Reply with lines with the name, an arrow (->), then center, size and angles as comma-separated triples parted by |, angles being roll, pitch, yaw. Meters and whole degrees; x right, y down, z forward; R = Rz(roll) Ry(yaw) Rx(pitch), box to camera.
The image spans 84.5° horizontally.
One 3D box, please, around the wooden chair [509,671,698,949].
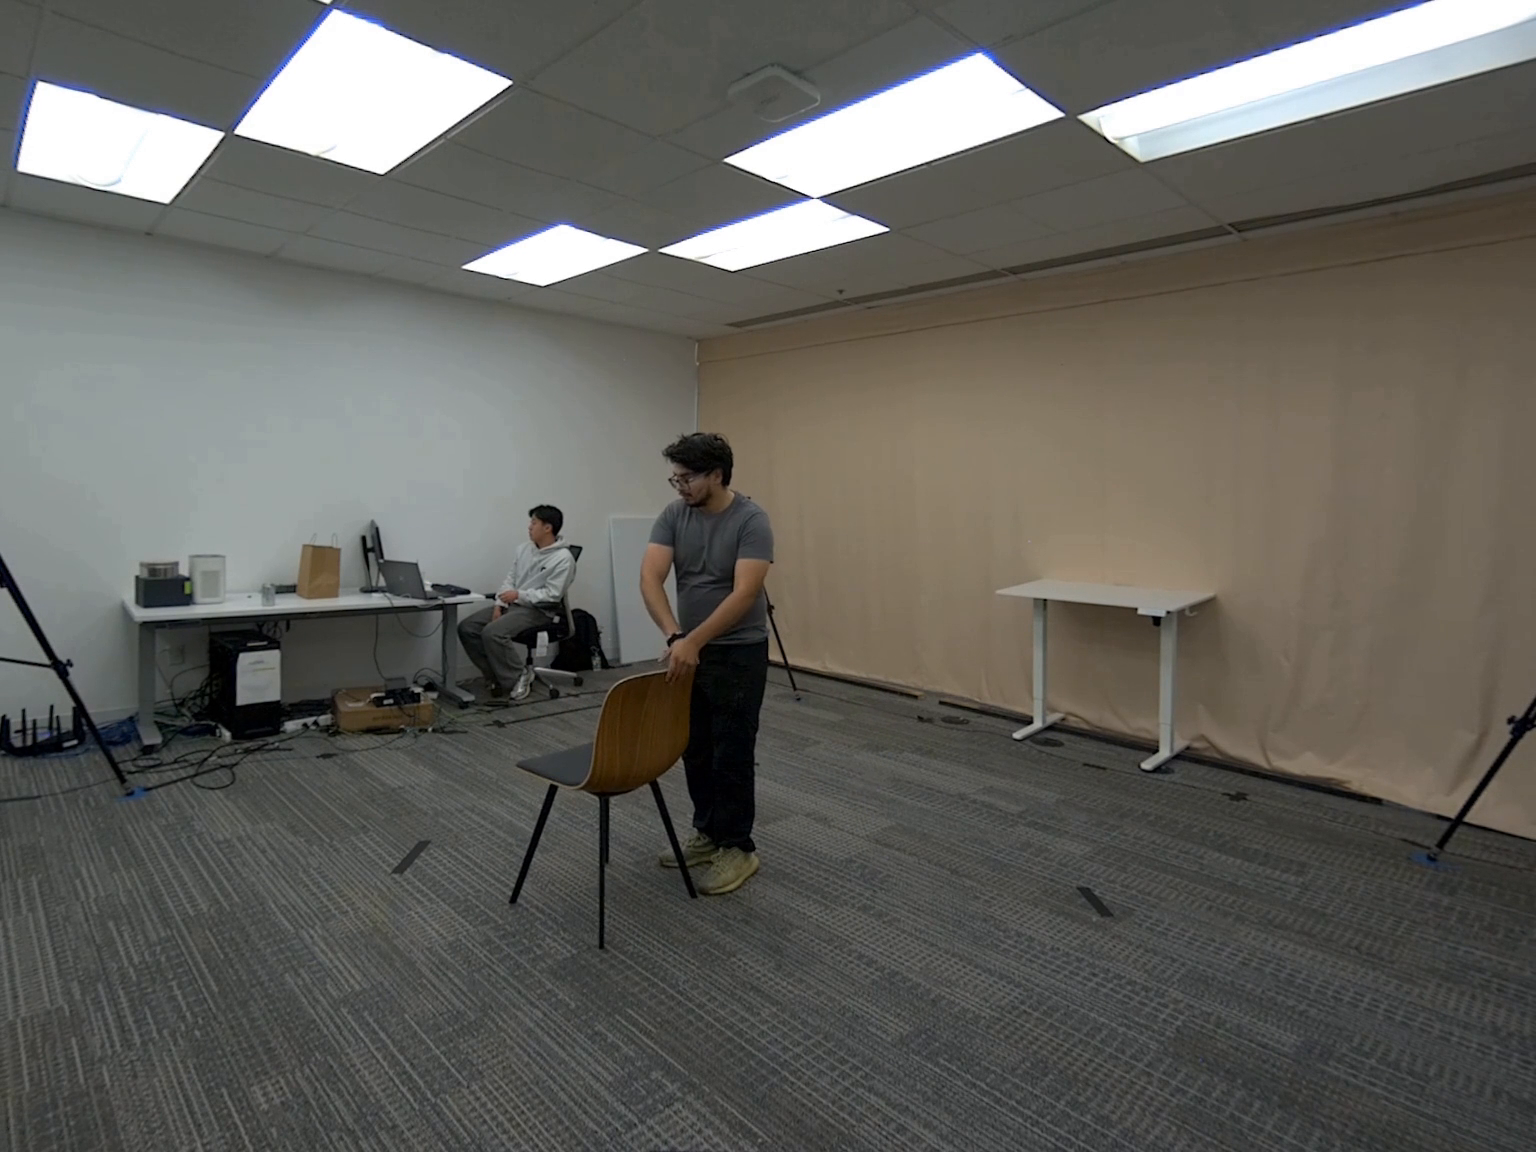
wooden chair -> -0.571, 0.691, 2.861 | 0.537, 0.874, 0.468 | 9, 8, 36
